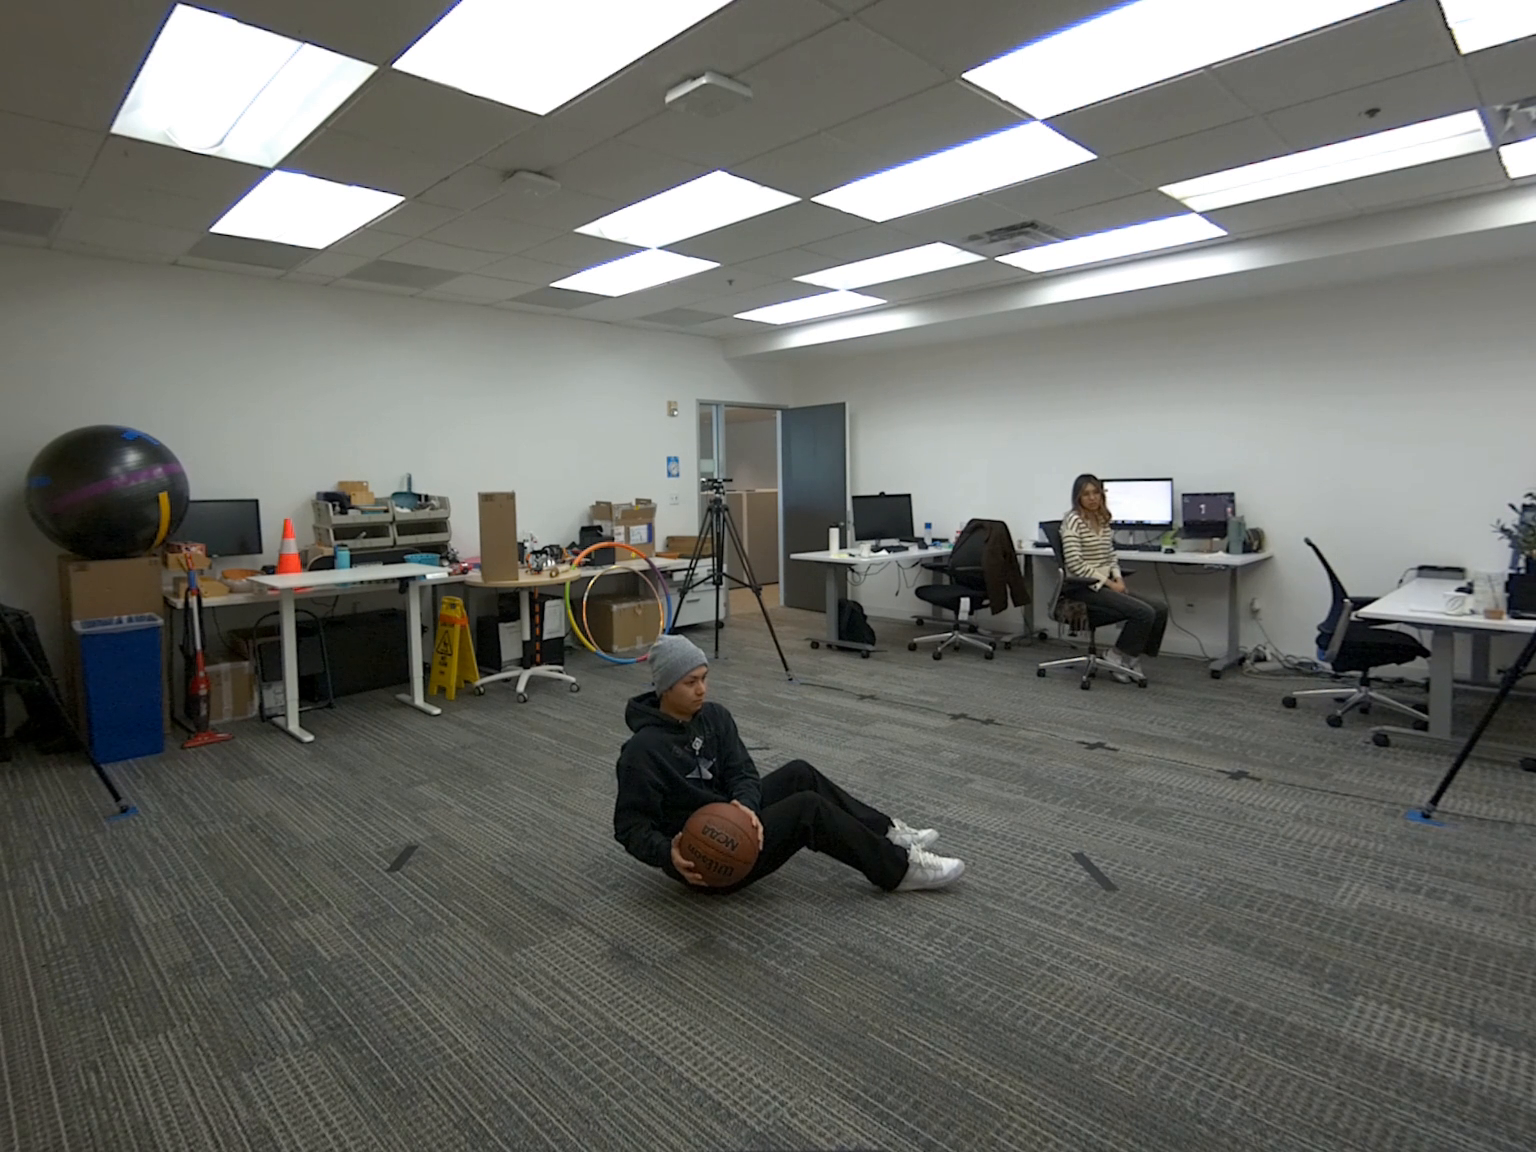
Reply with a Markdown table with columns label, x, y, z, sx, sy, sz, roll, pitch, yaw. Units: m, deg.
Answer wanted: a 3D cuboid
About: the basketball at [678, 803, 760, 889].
| label | x | y | z | sx | sy | sz | roll | pitch | yaw |
| --- | --- | --- | --- | --- | --- | --- | --- | --- | --- |
| basketball | -0.140 | 0.810 | 2.598 | 0.236 | 0.235 | 0.237 | -1 | 5 | -2 |
